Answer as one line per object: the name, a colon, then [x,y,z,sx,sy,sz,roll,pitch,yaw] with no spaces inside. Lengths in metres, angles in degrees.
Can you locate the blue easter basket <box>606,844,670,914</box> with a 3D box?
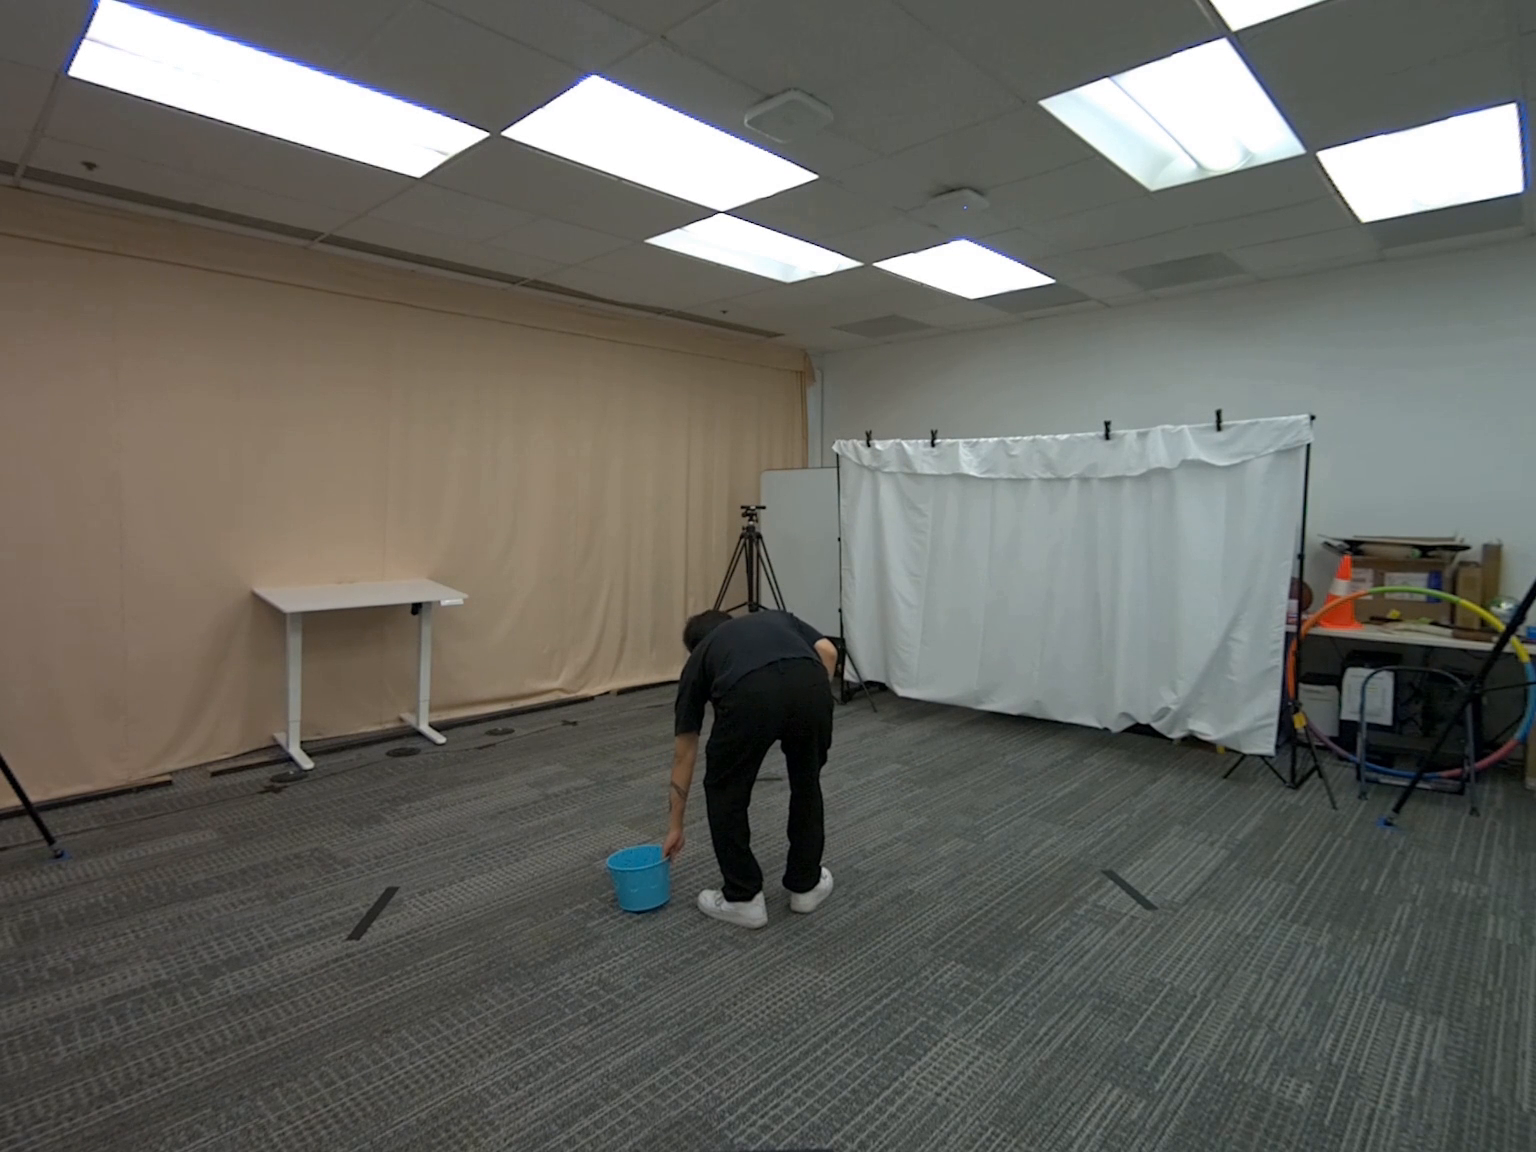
blue easter basket: [-0.446,1.063,2.957,0.243,0.156,0.244,-7,1,-2]
